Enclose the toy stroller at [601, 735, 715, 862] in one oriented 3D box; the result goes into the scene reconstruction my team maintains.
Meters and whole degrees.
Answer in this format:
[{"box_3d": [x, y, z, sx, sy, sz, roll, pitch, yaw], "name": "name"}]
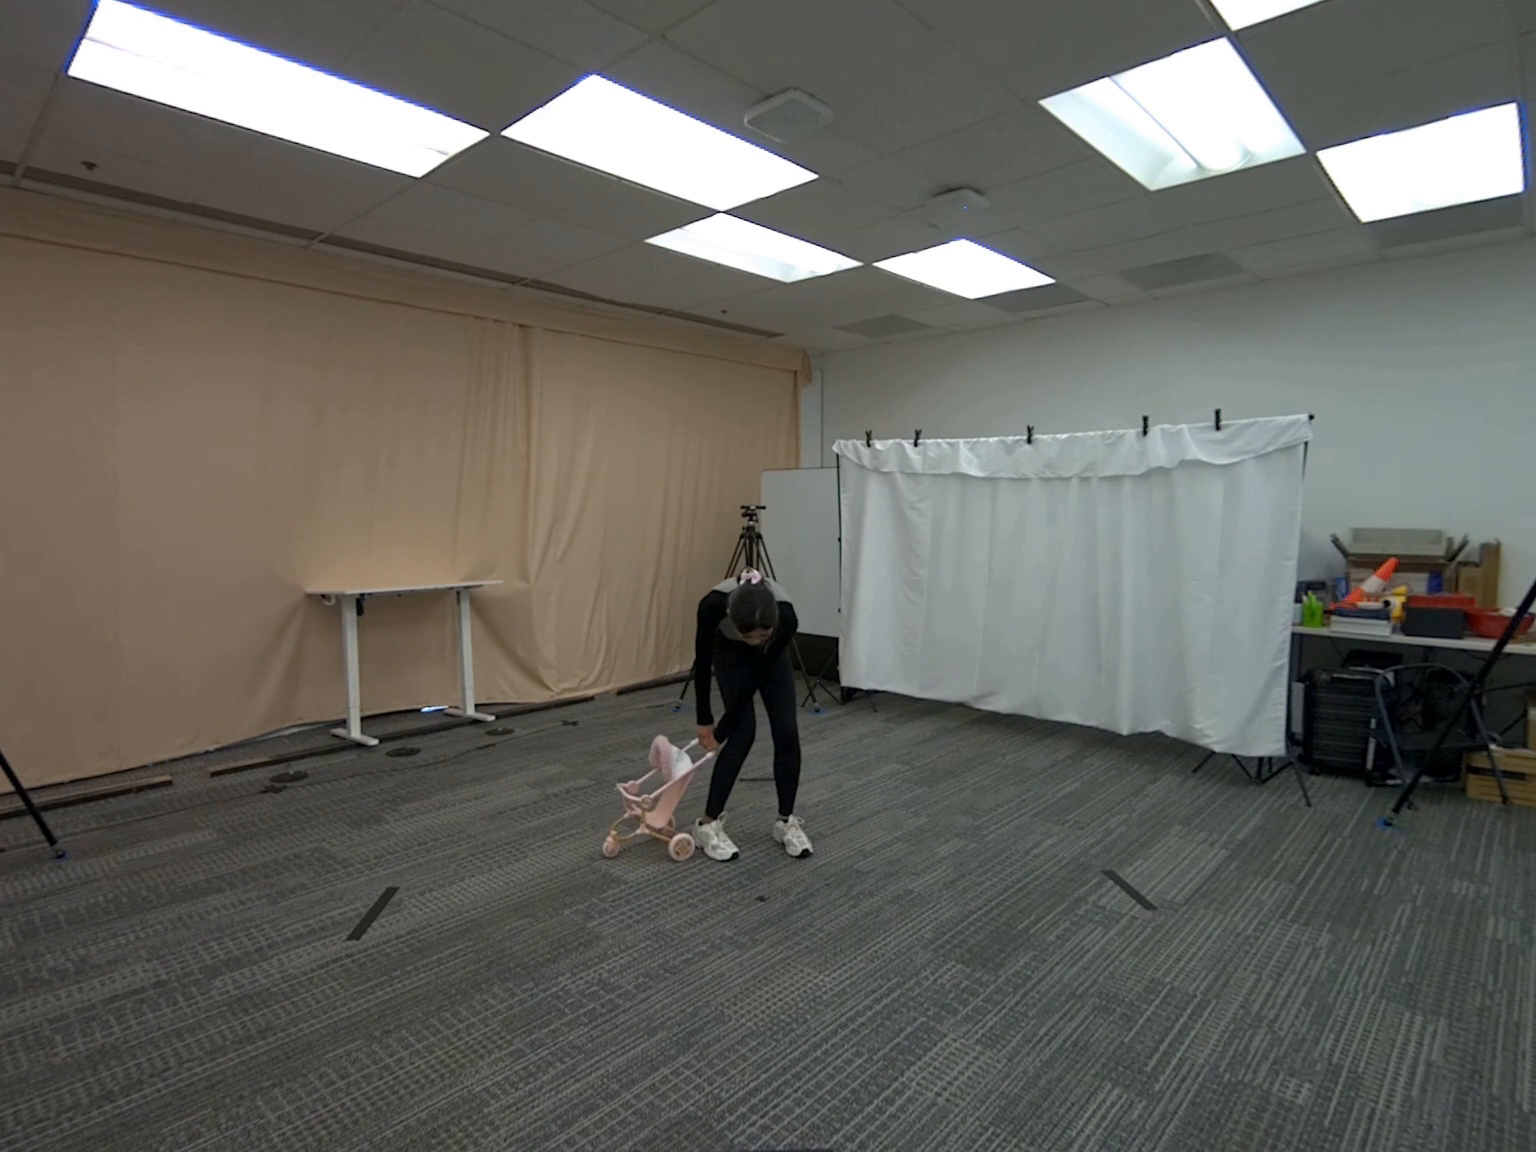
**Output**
[{"box_3d": [-0.444, 0.886, 3.397, 0.334, 0.535, 0.287, 16, -3, -18], "name": "toy stroller"}]
